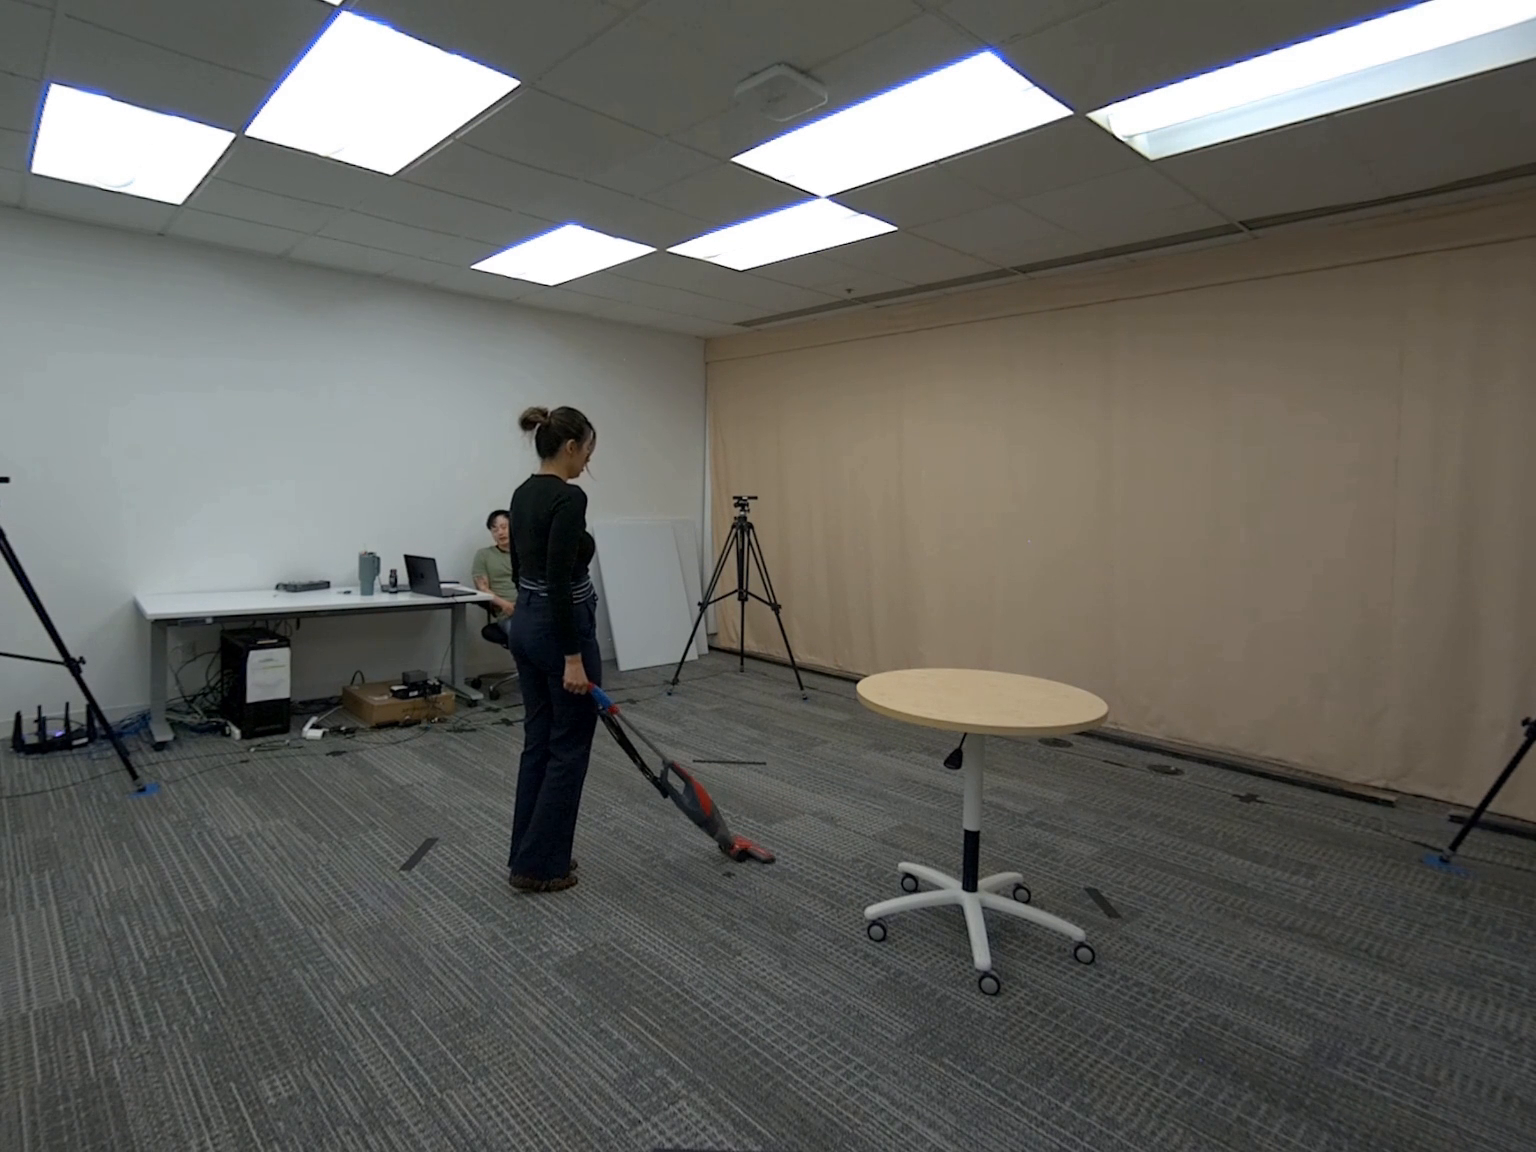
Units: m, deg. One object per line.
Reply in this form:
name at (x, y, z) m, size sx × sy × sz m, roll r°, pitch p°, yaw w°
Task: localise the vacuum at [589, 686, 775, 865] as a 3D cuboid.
vacuum at (-0.374, 0.726, 3.083) m, size 0.258 × 1.023 × 0.144 m, roll 2°, pitch 47°, yaw 52°
